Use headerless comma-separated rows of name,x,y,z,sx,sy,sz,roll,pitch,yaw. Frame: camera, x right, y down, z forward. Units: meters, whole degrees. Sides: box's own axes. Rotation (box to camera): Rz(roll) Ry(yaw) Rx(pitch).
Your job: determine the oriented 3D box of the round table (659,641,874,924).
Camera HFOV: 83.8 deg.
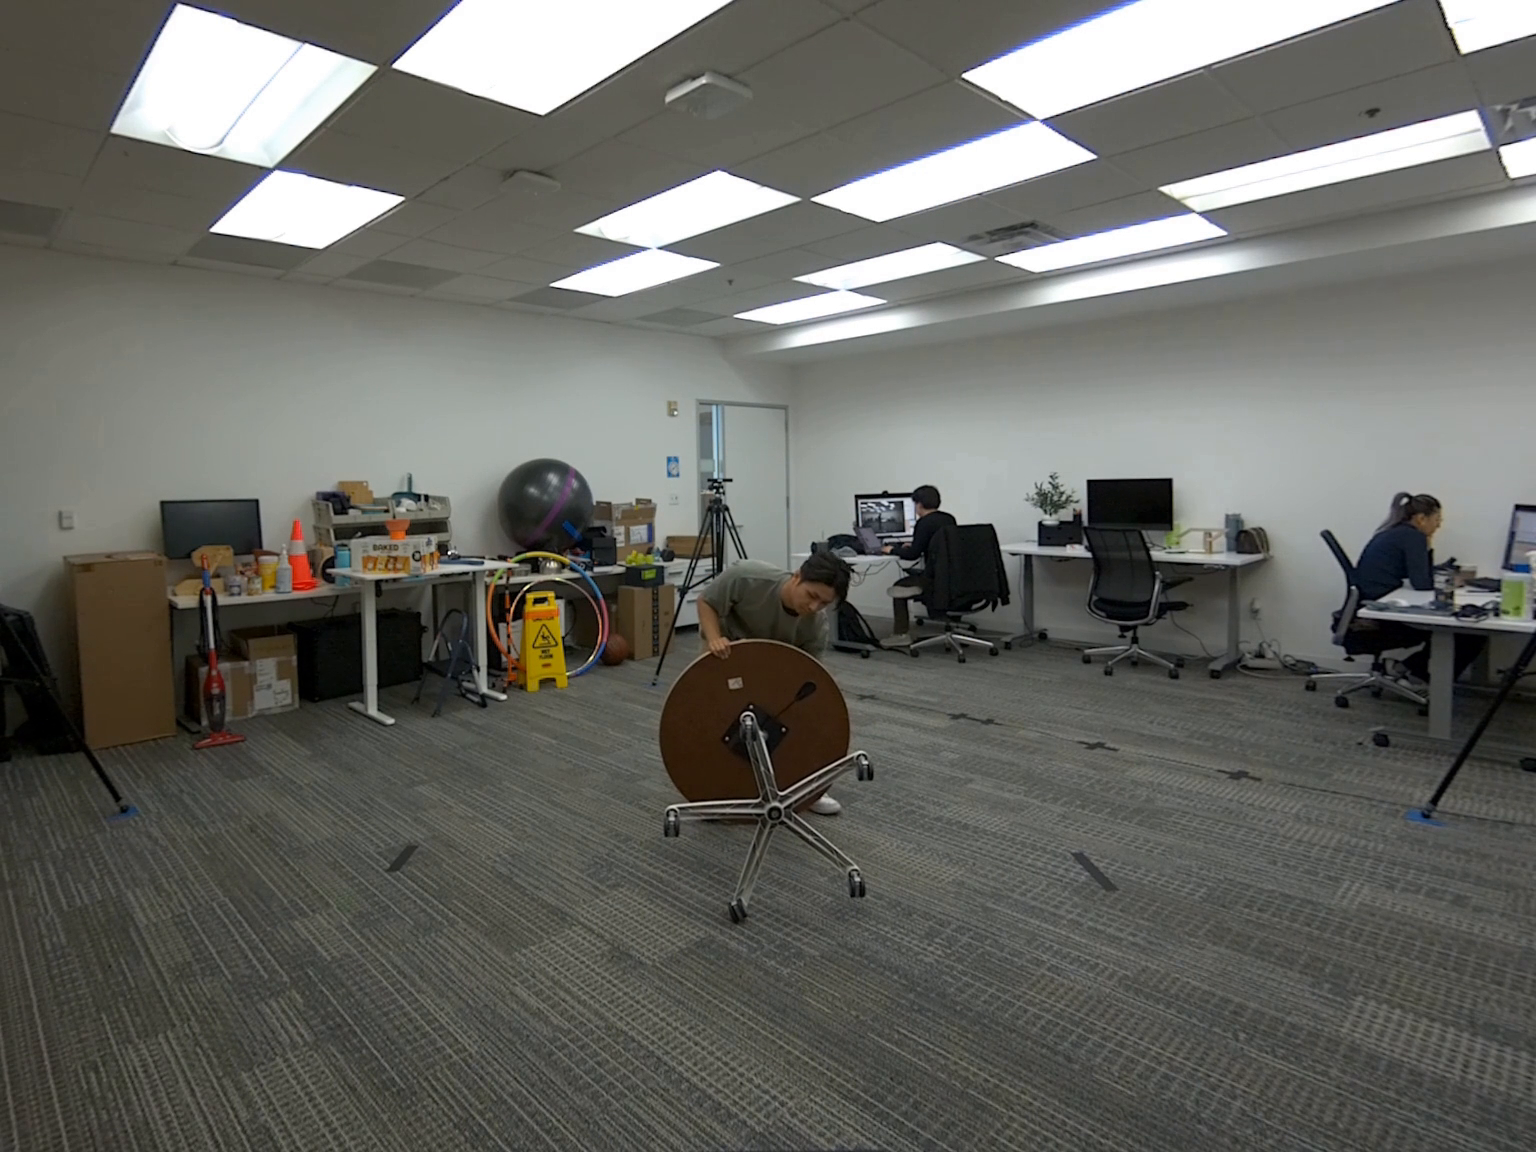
round table,-0.010,0.687,3.032,0.782,0.779,0.796,-1,8,-5
